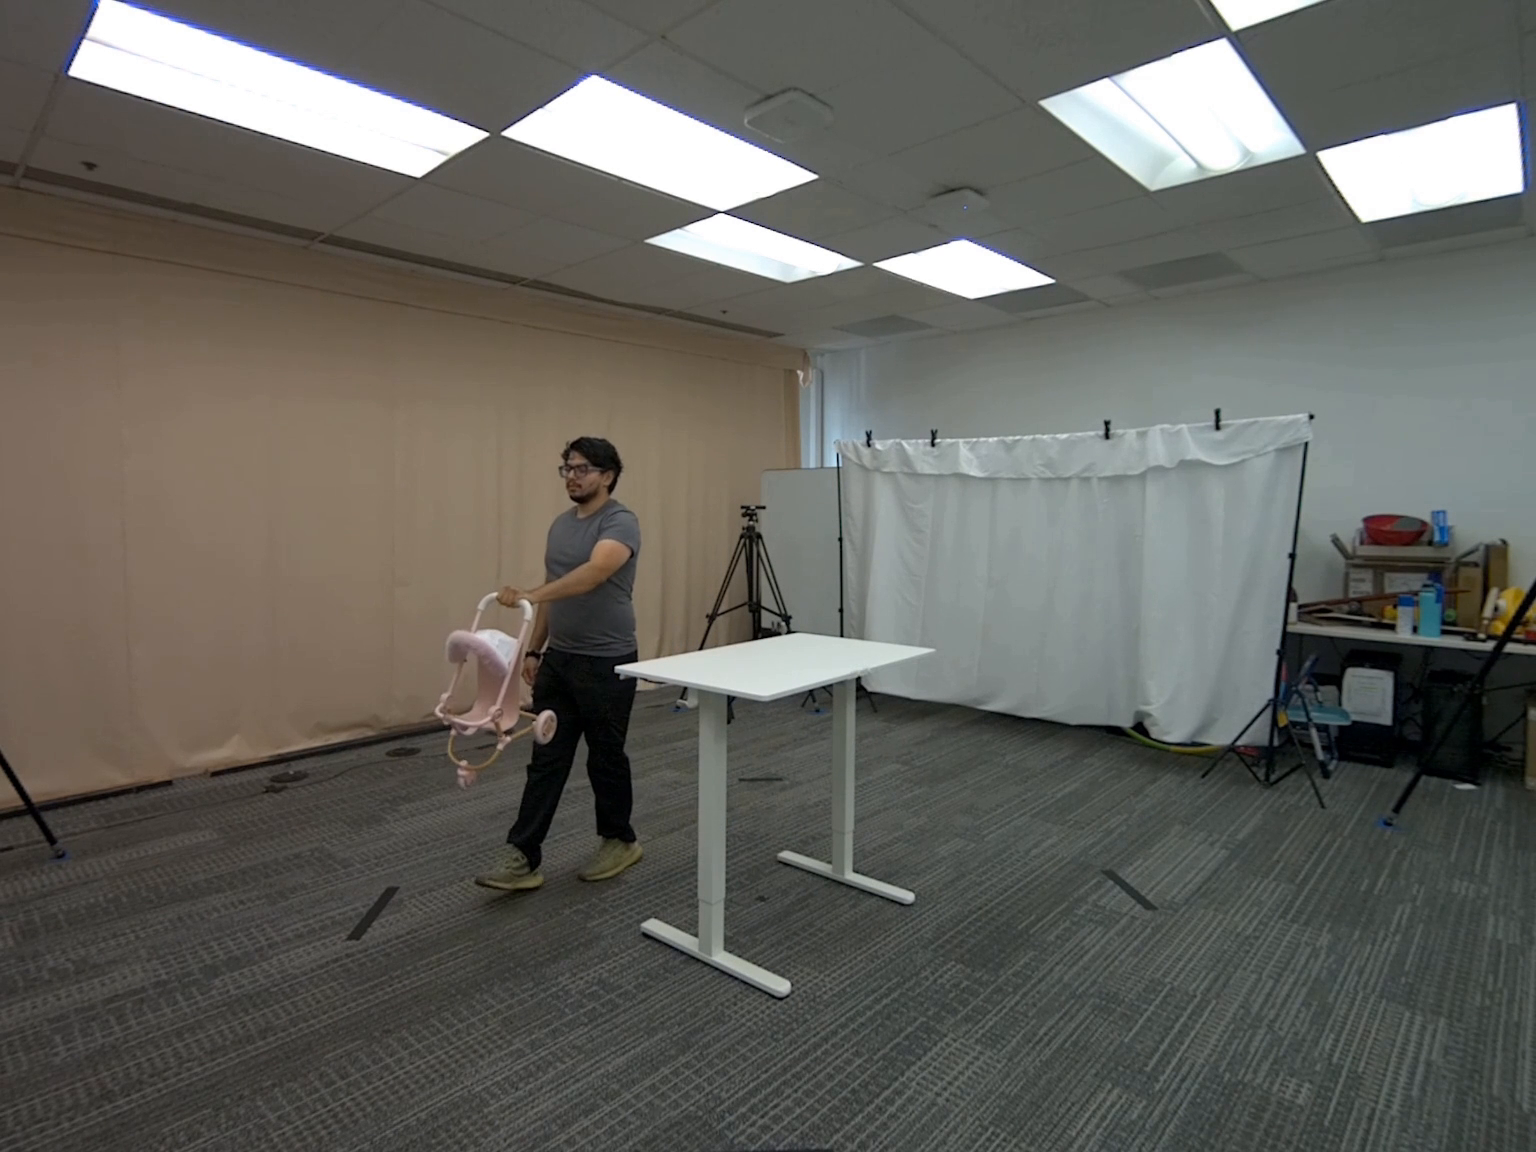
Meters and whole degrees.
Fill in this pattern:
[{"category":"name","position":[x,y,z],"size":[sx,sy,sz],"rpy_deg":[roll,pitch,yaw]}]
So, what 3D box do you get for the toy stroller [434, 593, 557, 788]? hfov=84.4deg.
[{"category":"toy stroller","position":[-0.872,0.366,2.634],"size":[0.290,0.527,0.336],"rpy_deg":[12,26,28]}]
